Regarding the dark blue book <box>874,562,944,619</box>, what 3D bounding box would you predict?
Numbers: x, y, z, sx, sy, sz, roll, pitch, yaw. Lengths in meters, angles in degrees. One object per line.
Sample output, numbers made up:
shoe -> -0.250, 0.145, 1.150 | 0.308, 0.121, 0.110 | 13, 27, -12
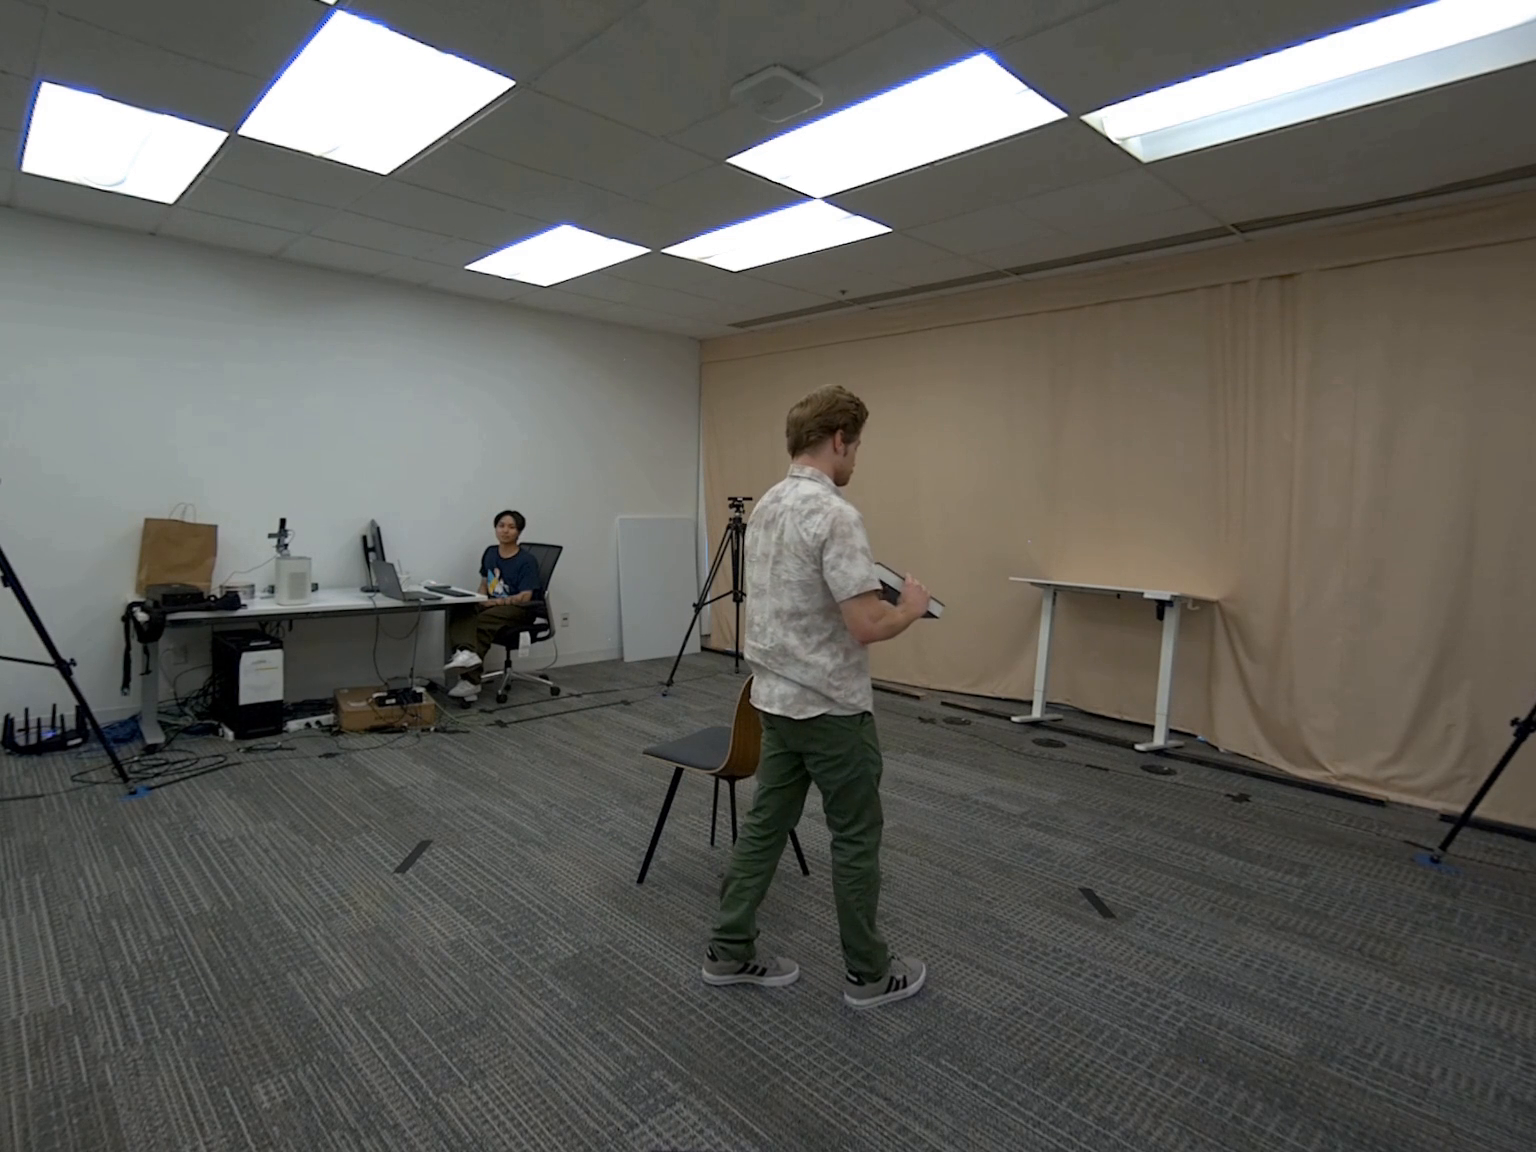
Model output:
dark blue book -> 0.380, 0.046, 2.474 | 0.243, 0.045, 0.164 | 34, -12, -9
